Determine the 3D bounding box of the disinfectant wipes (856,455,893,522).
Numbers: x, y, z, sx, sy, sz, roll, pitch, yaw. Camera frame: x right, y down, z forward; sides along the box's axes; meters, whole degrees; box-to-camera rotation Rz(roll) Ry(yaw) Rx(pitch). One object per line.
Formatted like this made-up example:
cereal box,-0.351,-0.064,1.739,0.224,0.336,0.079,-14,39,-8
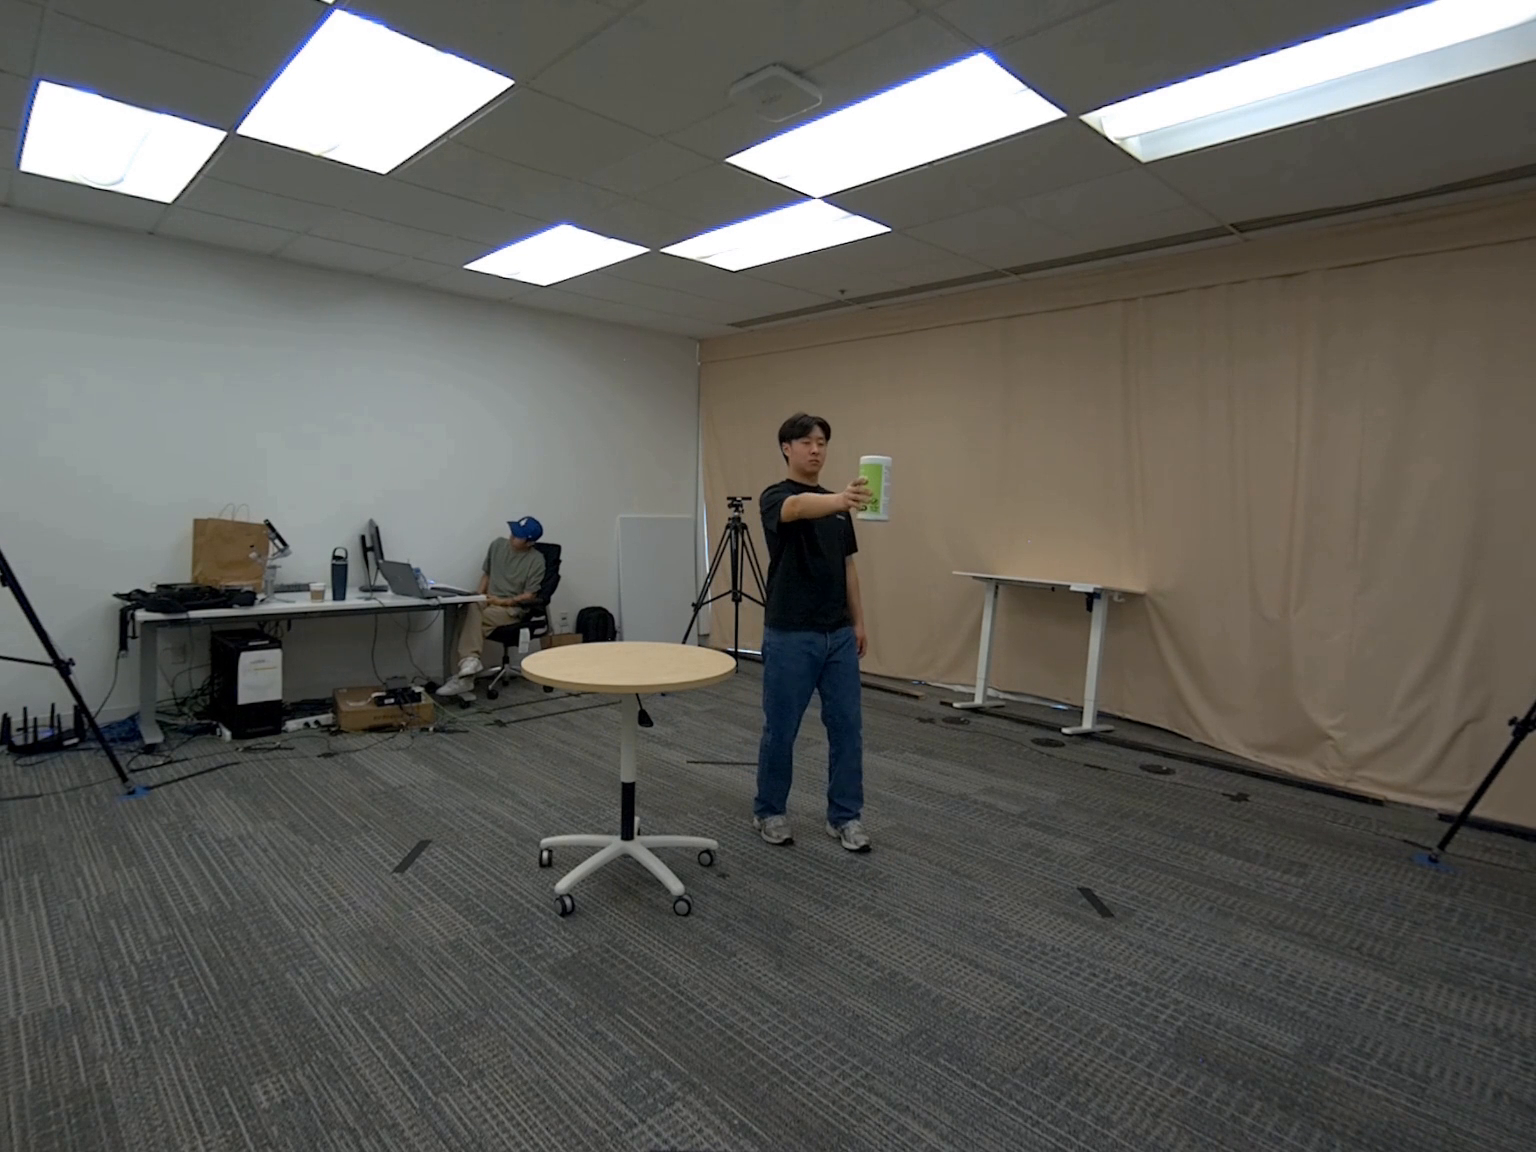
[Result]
disinfectant wipes,0.354,-0.294,2.839,0.118,0.217,0.118,3,1,-1
